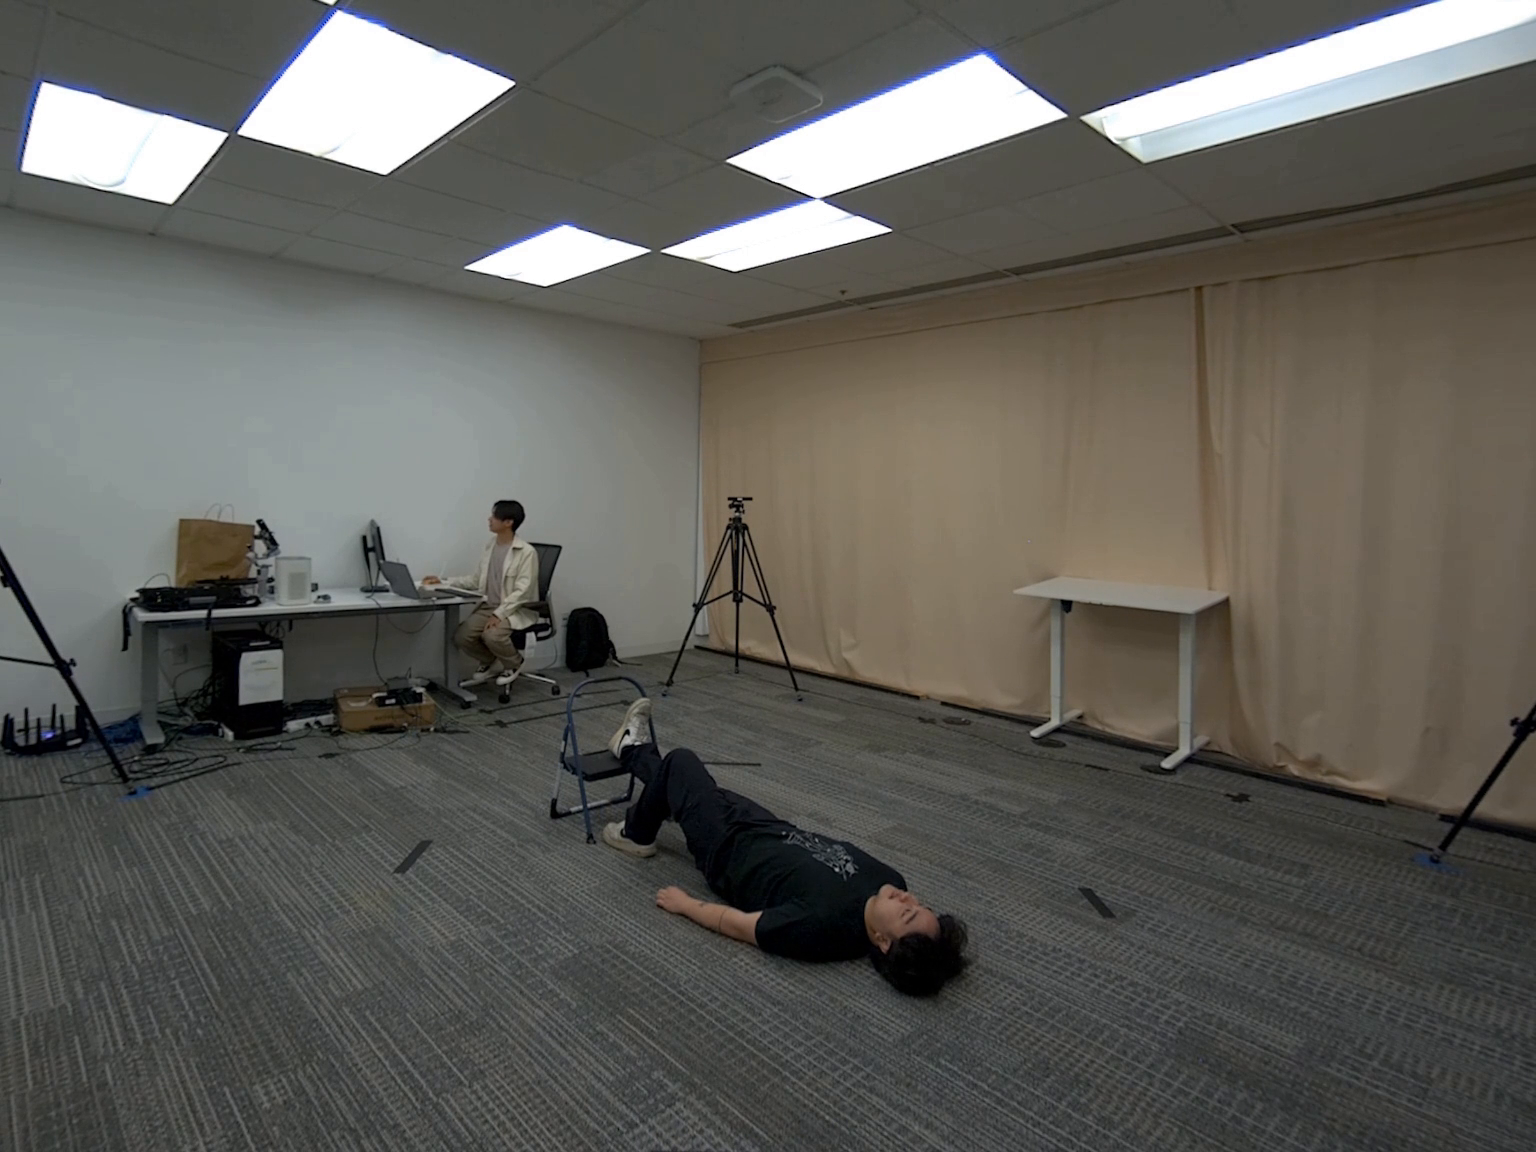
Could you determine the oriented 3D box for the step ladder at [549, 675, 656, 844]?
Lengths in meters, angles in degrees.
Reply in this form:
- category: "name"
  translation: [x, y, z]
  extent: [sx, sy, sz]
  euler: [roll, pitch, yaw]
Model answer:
- category: "step ladder"
  translation: [-0.678, 0.752, 3.620]
  extent: [0.420, 0.605, 0.358]
  euler: [-1, 4, -43]
